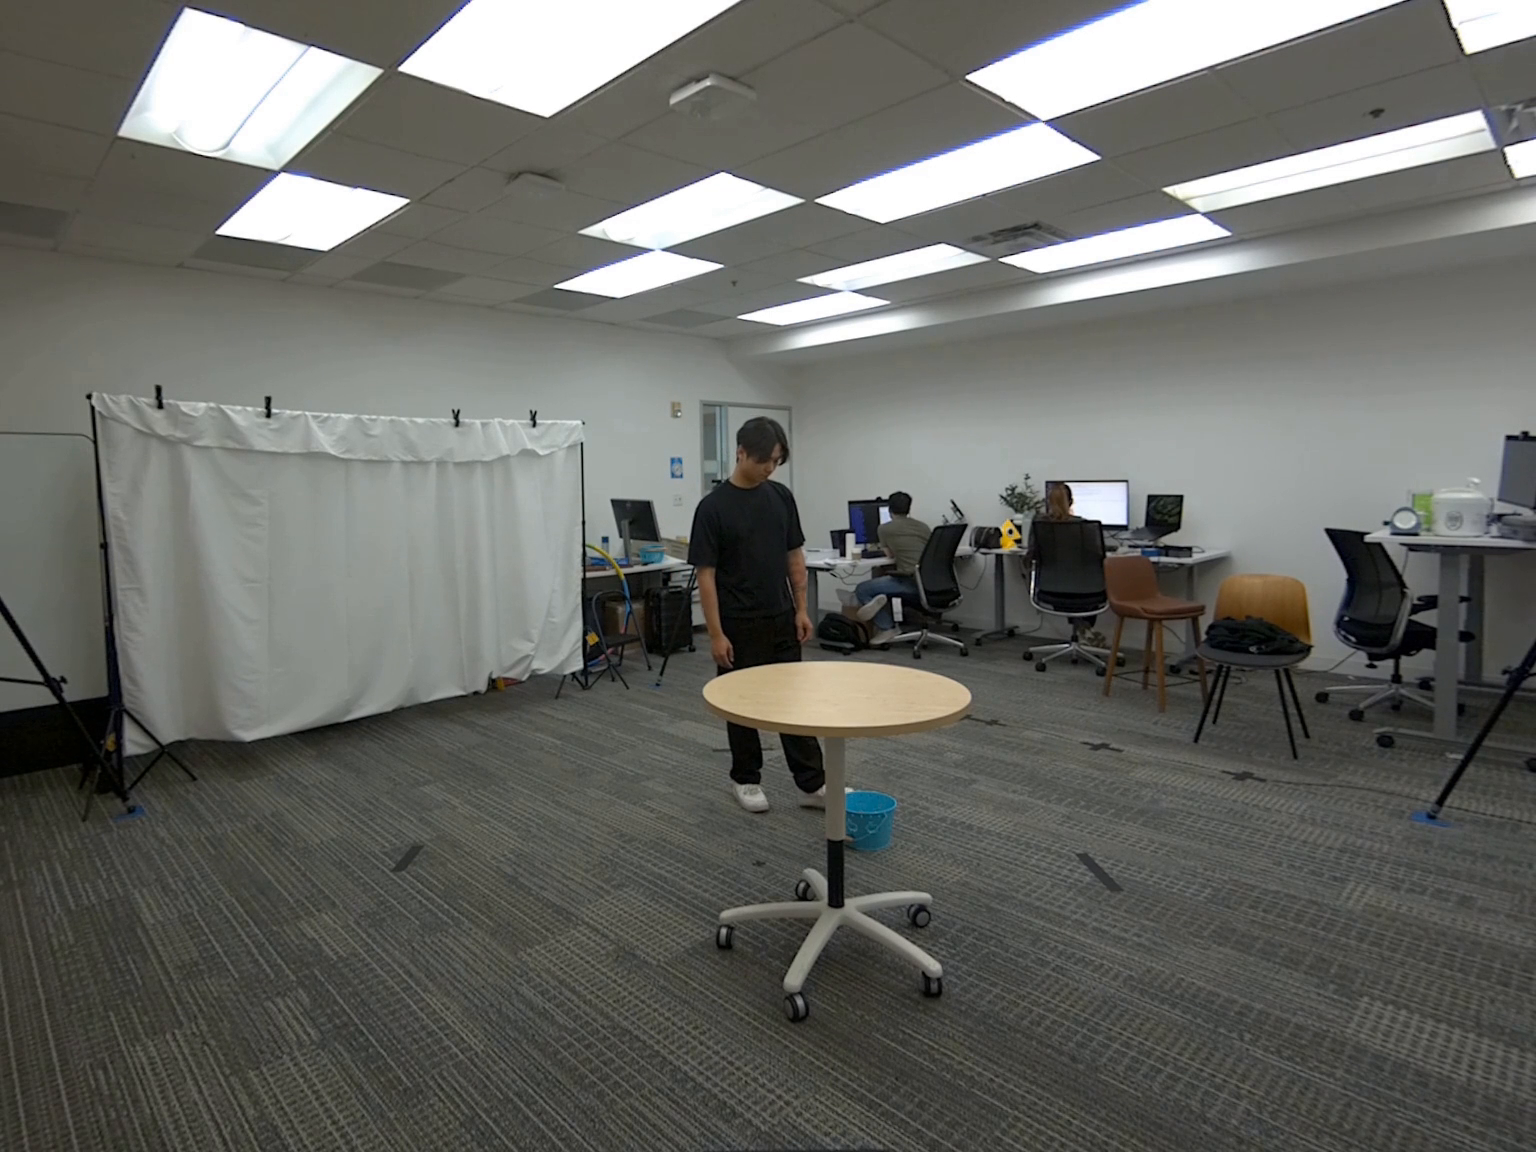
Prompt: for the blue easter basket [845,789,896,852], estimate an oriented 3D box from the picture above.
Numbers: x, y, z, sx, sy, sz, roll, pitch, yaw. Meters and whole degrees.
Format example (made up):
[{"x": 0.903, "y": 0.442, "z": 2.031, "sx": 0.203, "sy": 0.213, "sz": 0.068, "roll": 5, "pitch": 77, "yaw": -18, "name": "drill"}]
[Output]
[{"x": 0.376, "y": 0.941, "z": 3.290, "sx": 0.243, "sy": 0.155, "sz": 0.245, "roll": -2, "pitch": 5, "yaw": -2, "name": "blue easter basket"}]
